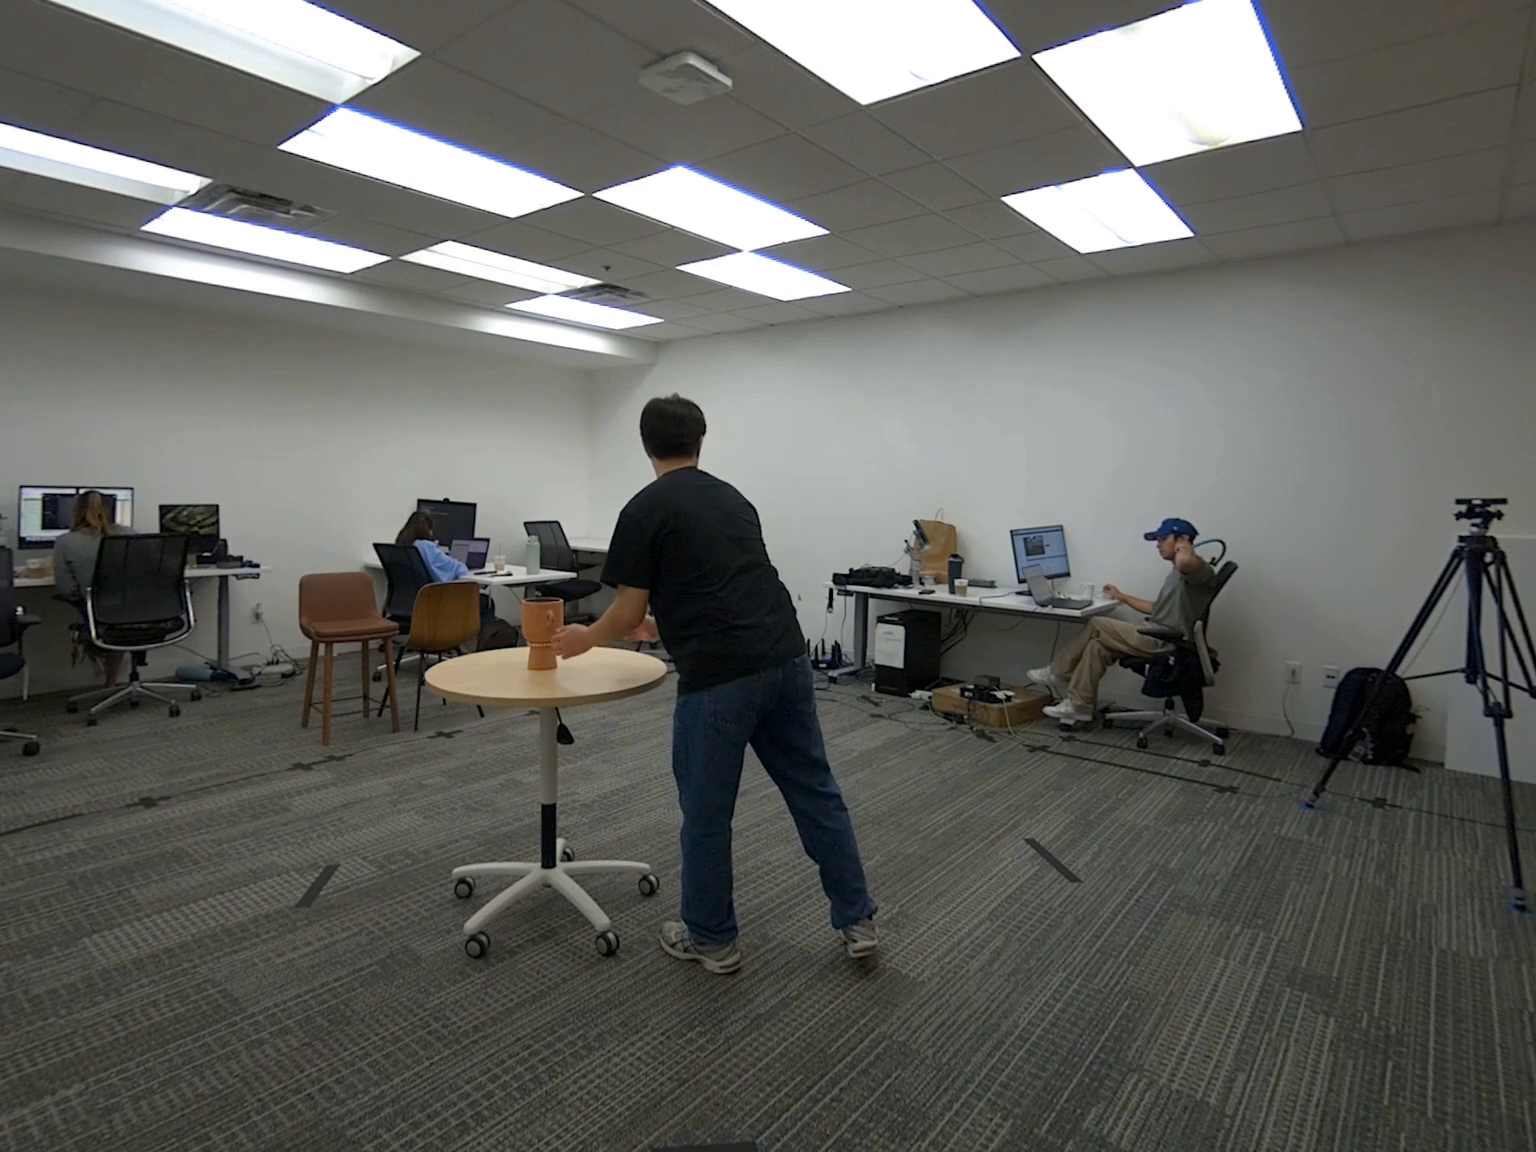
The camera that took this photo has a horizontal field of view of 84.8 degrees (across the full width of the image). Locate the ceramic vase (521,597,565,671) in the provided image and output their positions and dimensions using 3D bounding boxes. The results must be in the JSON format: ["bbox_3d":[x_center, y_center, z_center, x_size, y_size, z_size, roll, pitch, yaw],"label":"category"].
[{"bbox_3d":[-0.748,0.190,2.772,0.136,0.219,0.158,2,5,7],"label":"ceramic vase"}]
